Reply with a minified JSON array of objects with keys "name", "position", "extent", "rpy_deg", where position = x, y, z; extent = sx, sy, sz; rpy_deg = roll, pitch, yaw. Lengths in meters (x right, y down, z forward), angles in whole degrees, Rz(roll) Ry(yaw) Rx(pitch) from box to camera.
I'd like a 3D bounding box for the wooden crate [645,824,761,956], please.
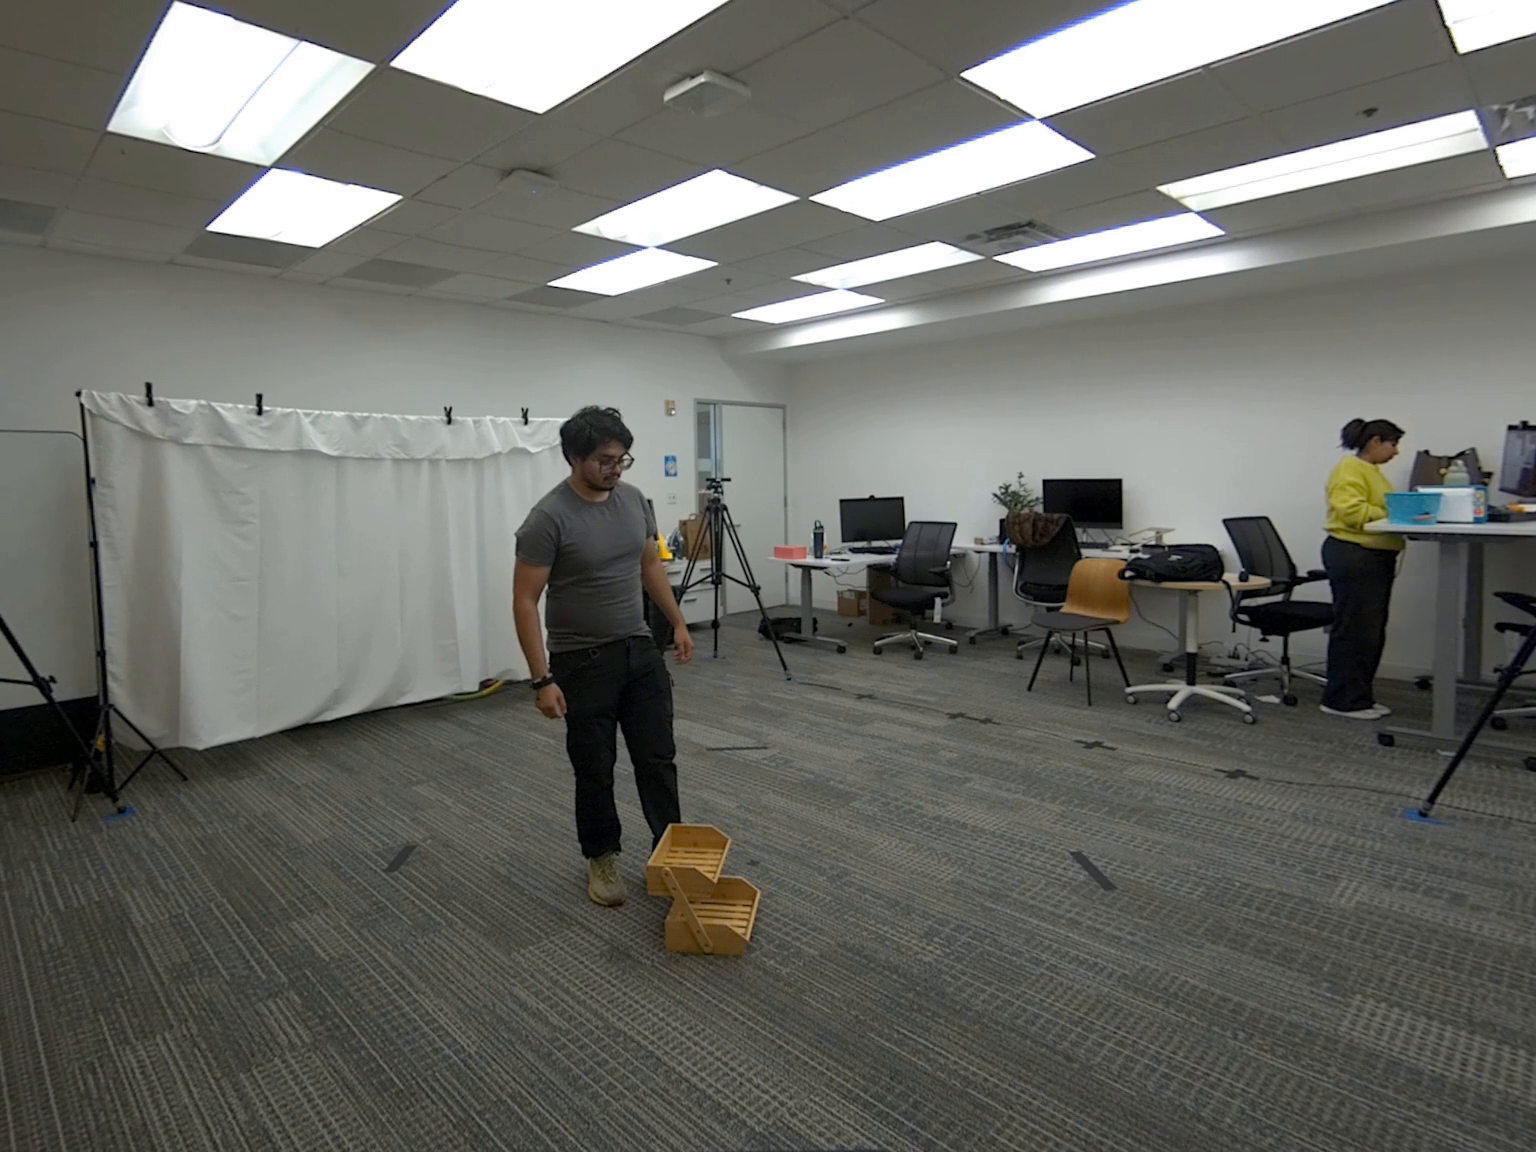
[{"name":"wooden crate","position":[-0.177,0.974,2.655],"extent":[0.305,0.272,0.323],"rpy_deg":[1,5,8]}]
